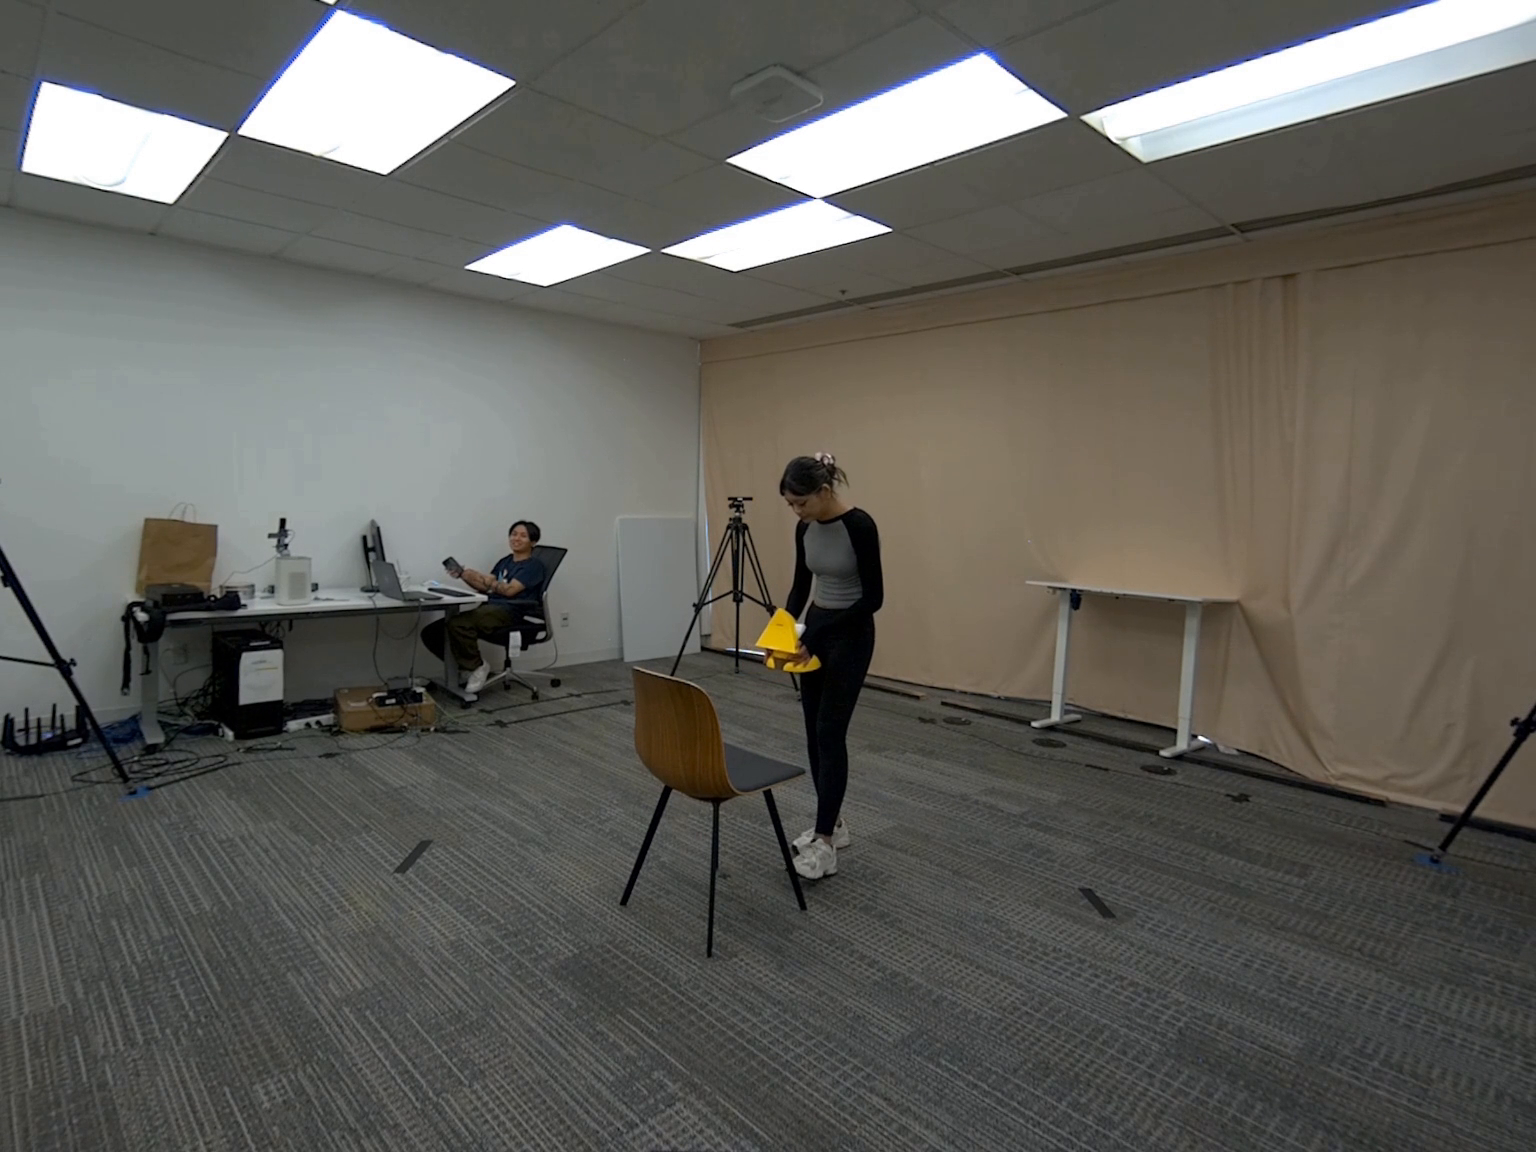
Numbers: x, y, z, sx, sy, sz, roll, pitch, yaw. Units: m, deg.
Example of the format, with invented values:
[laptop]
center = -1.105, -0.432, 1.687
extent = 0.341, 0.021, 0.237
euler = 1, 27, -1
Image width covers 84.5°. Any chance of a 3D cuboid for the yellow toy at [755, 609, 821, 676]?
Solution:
[yellow toy]
center = 0.081, 0.228, 3.170
extent = 0.189, 0.230, 0.210
euler = -5, 7, -44
